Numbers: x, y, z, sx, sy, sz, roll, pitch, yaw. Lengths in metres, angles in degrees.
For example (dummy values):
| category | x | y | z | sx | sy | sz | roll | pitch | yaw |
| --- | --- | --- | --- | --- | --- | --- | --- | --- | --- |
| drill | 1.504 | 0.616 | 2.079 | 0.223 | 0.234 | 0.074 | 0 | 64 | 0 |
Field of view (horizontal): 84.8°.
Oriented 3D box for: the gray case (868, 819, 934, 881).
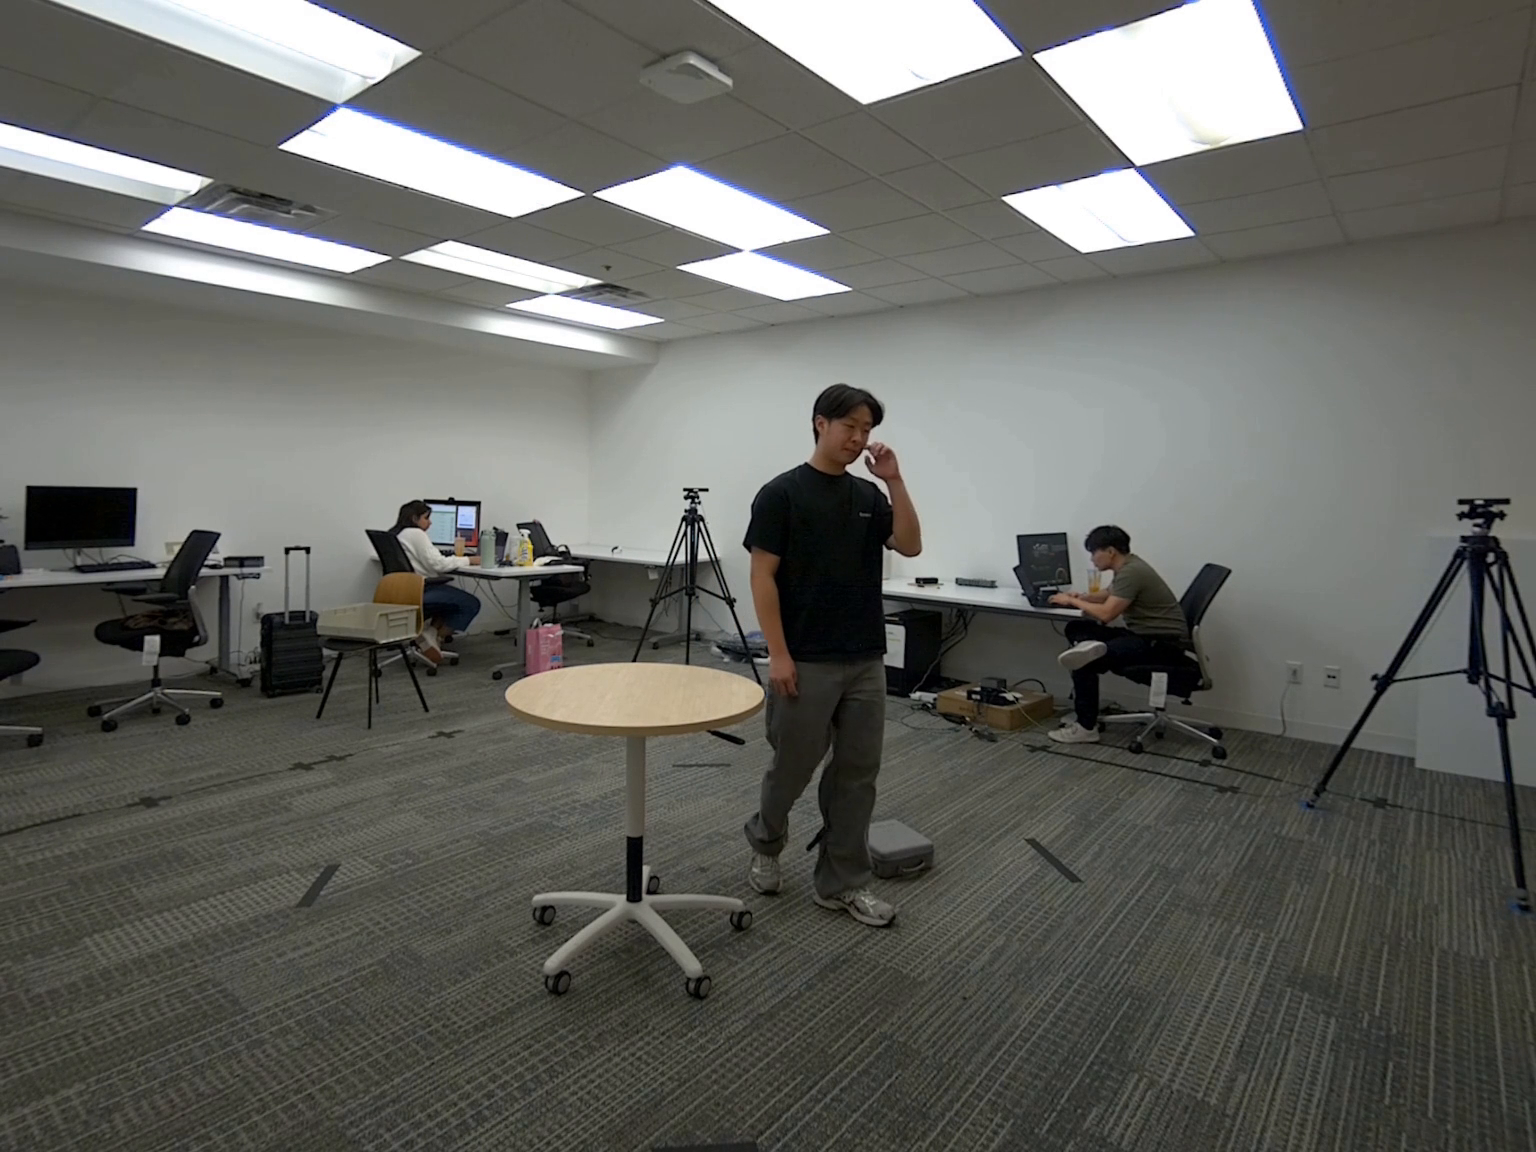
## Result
| category | x | y | z | sx | sy | sz | roll | pitch | yaw |
| --- | --- | --- | --- | --- | --- | --- | --- | --- | --- |
| gray case | 0.455 | 1.019 | 3.200 | 0.257 | 0.102 | 0.296 | -2 | 6 | -28 |
